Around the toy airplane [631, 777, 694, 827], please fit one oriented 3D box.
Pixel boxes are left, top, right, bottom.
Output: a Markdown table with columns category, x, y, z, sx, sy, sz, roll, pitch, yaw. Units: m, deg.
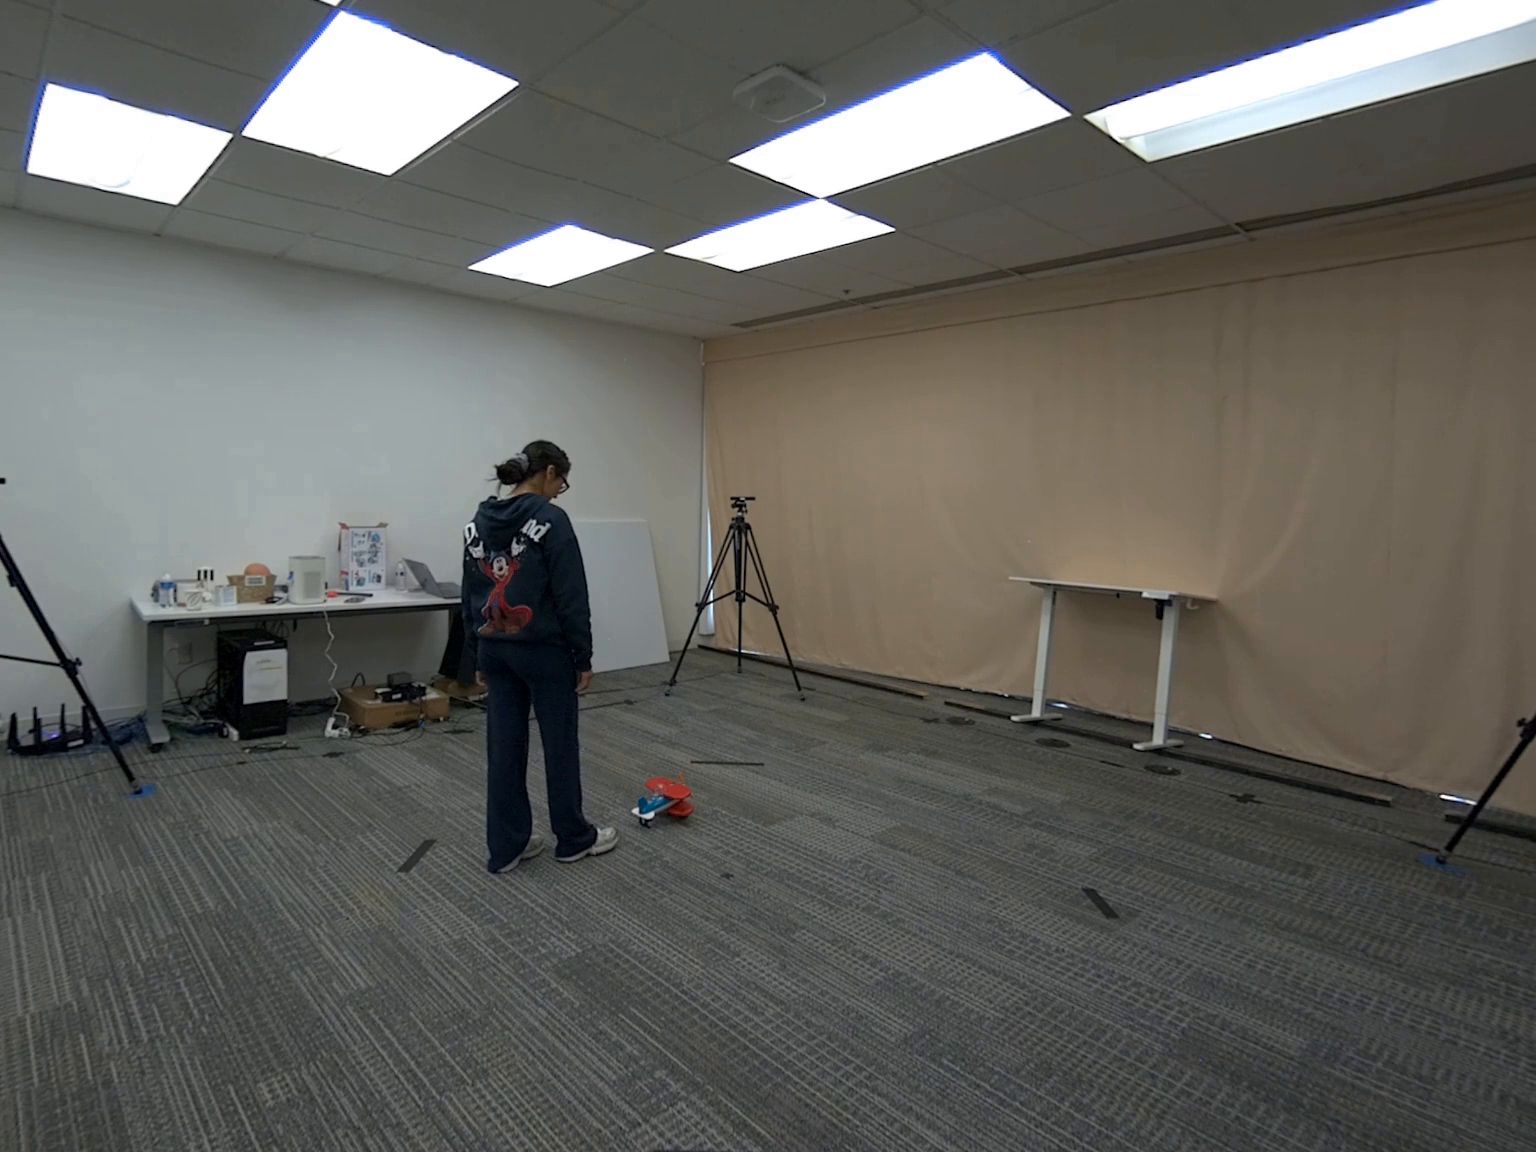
| category | x | y | z | sx | sy | sz | roll | pitch | yaw |
| --- | --- | --- | --- | --- | --- | --- | --- | --- | --- |
| toy airplane | -0.448 | 0.980 | 3.608 | 0.254 | 0.156 | 0.256 | 2 | 4 | 14 |
